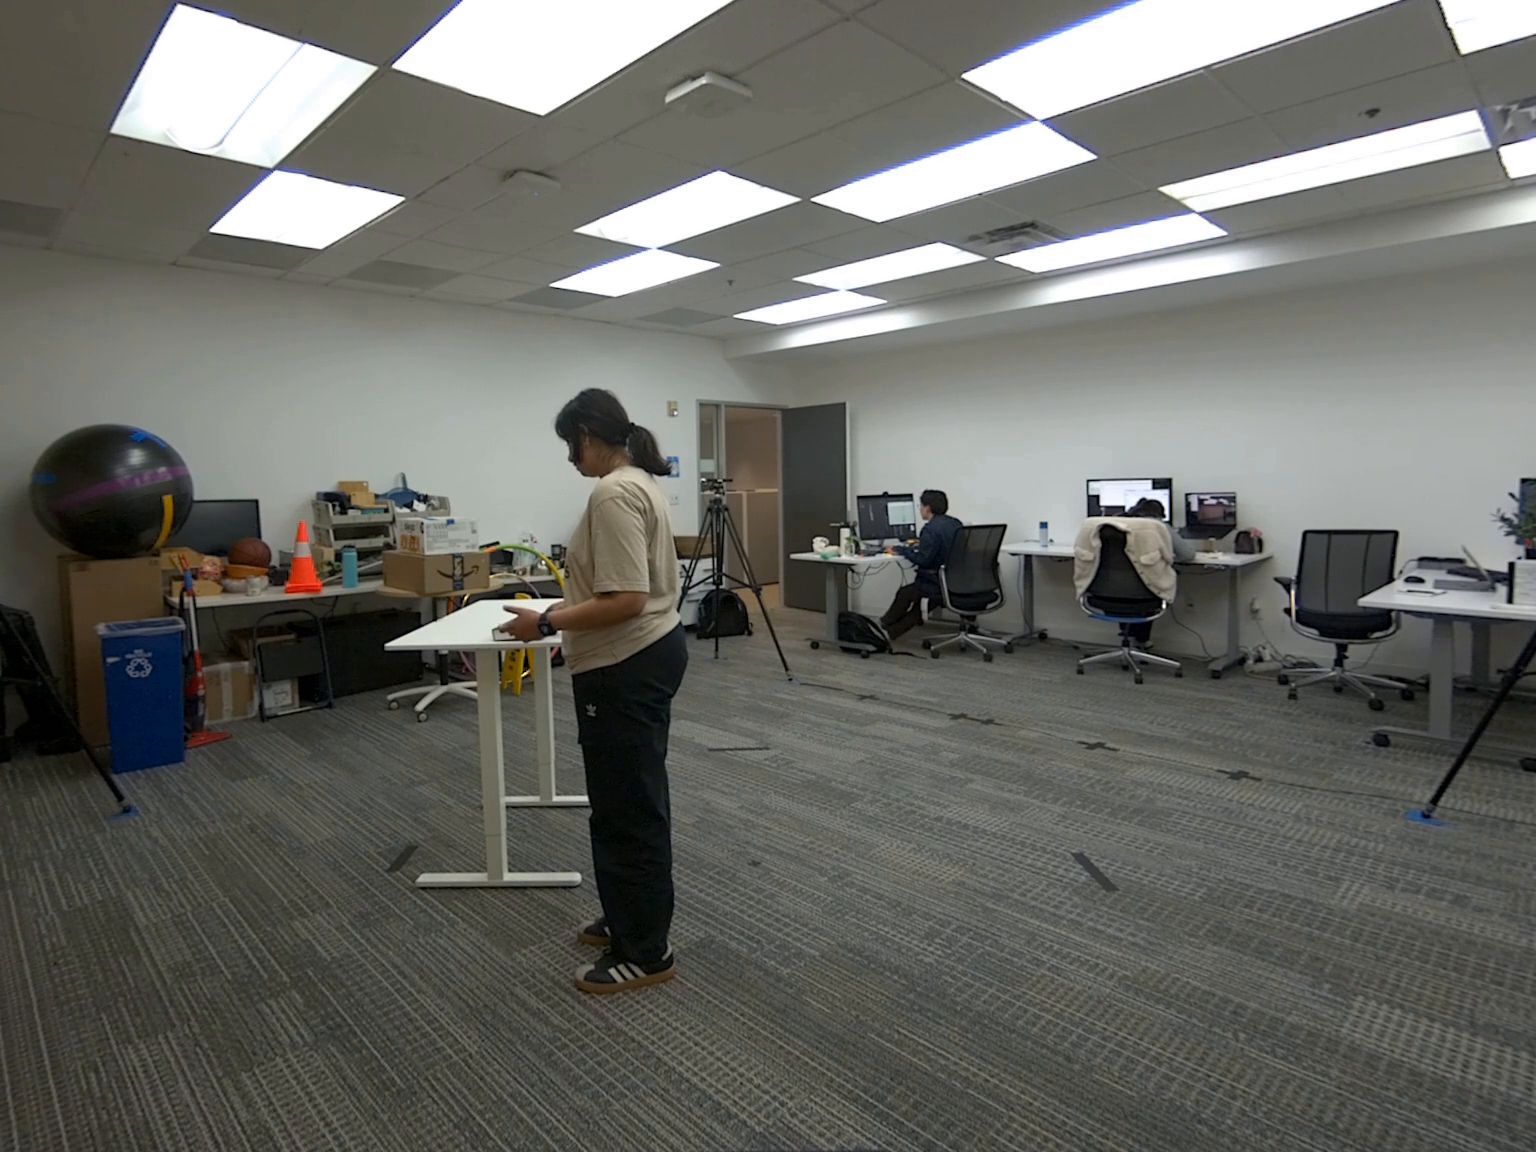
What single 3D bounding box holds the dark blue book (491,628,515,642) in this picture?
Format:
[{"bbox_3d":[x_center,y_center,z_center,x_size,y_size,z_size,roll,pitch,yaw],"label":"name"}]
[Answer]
[{"bbox_3d":[-0.814,0.174,2.933,0.164,0.045,0.245,-7,6,5],"label":"dark blue book"}]
